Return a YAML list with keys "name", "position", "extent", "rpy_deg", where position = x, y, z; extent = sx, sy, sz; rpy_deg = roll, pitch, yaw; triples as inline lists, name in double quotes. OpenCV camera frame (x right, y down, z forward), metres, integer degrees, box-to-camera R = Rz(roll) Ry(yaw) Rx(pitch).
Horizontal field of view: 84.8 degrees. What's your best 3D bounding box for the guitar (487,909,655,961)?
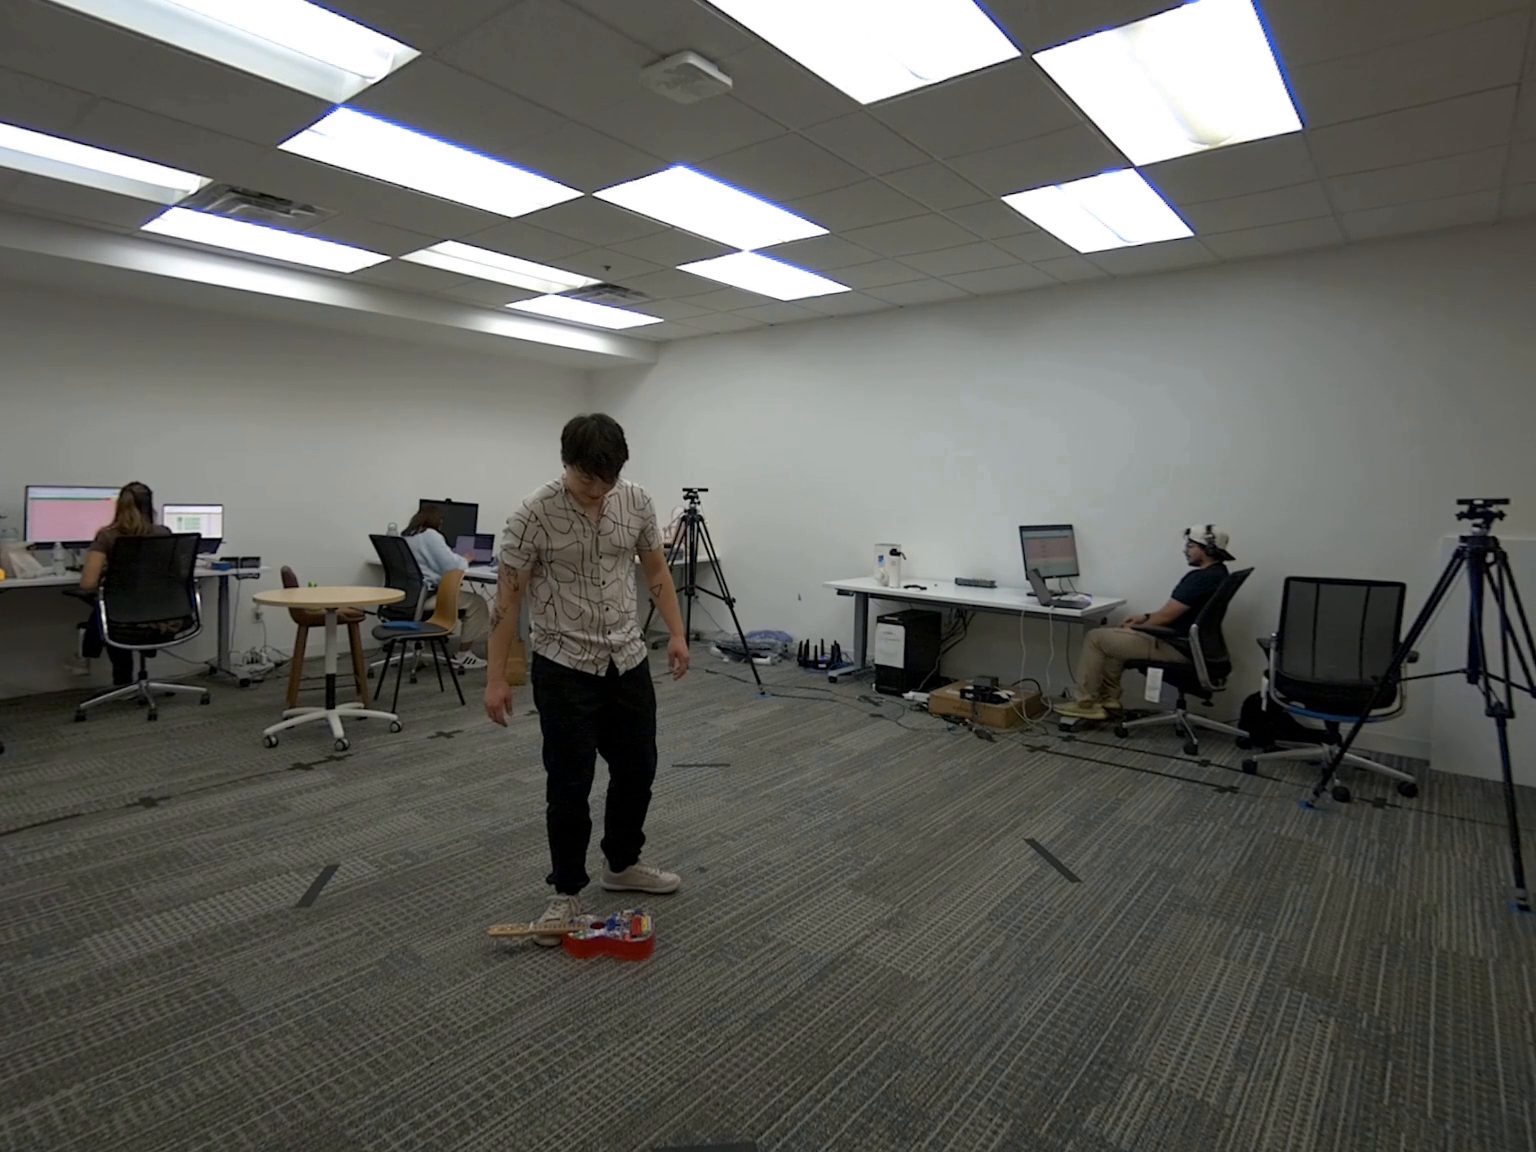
- name: "guitar"
  position: [-0.603, 1.080, 2.597]
  extent: [0.499, 0.070, 0.193]
  rpy_deg: [1, 6, 2]
